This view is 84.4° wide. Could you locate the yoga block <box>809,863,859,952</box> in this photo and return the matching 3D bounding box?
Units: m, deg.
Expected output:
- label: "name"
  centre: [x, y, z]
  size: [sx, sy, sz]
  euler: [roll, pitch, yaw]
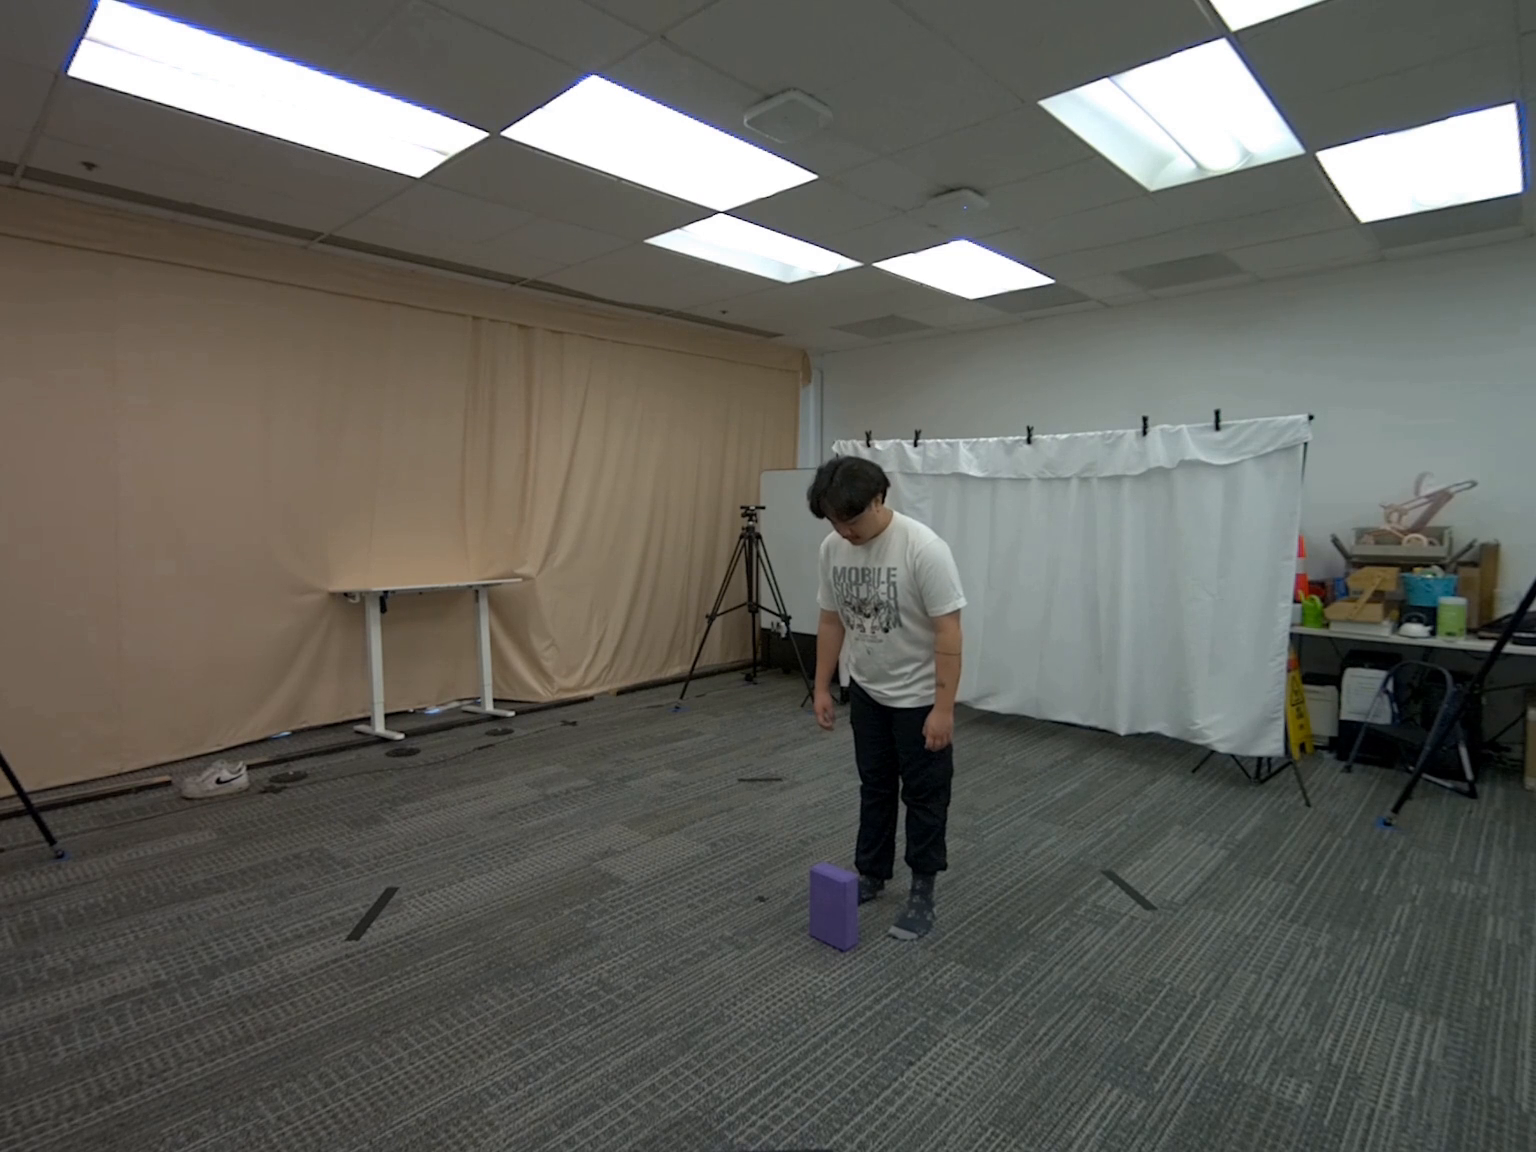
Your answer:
- label: "yoga block"
  centre: [0.215, 1.055, 2.687]
  size: [0.154, 0.229, 0.074]
  euler: [4, 5, 44]
